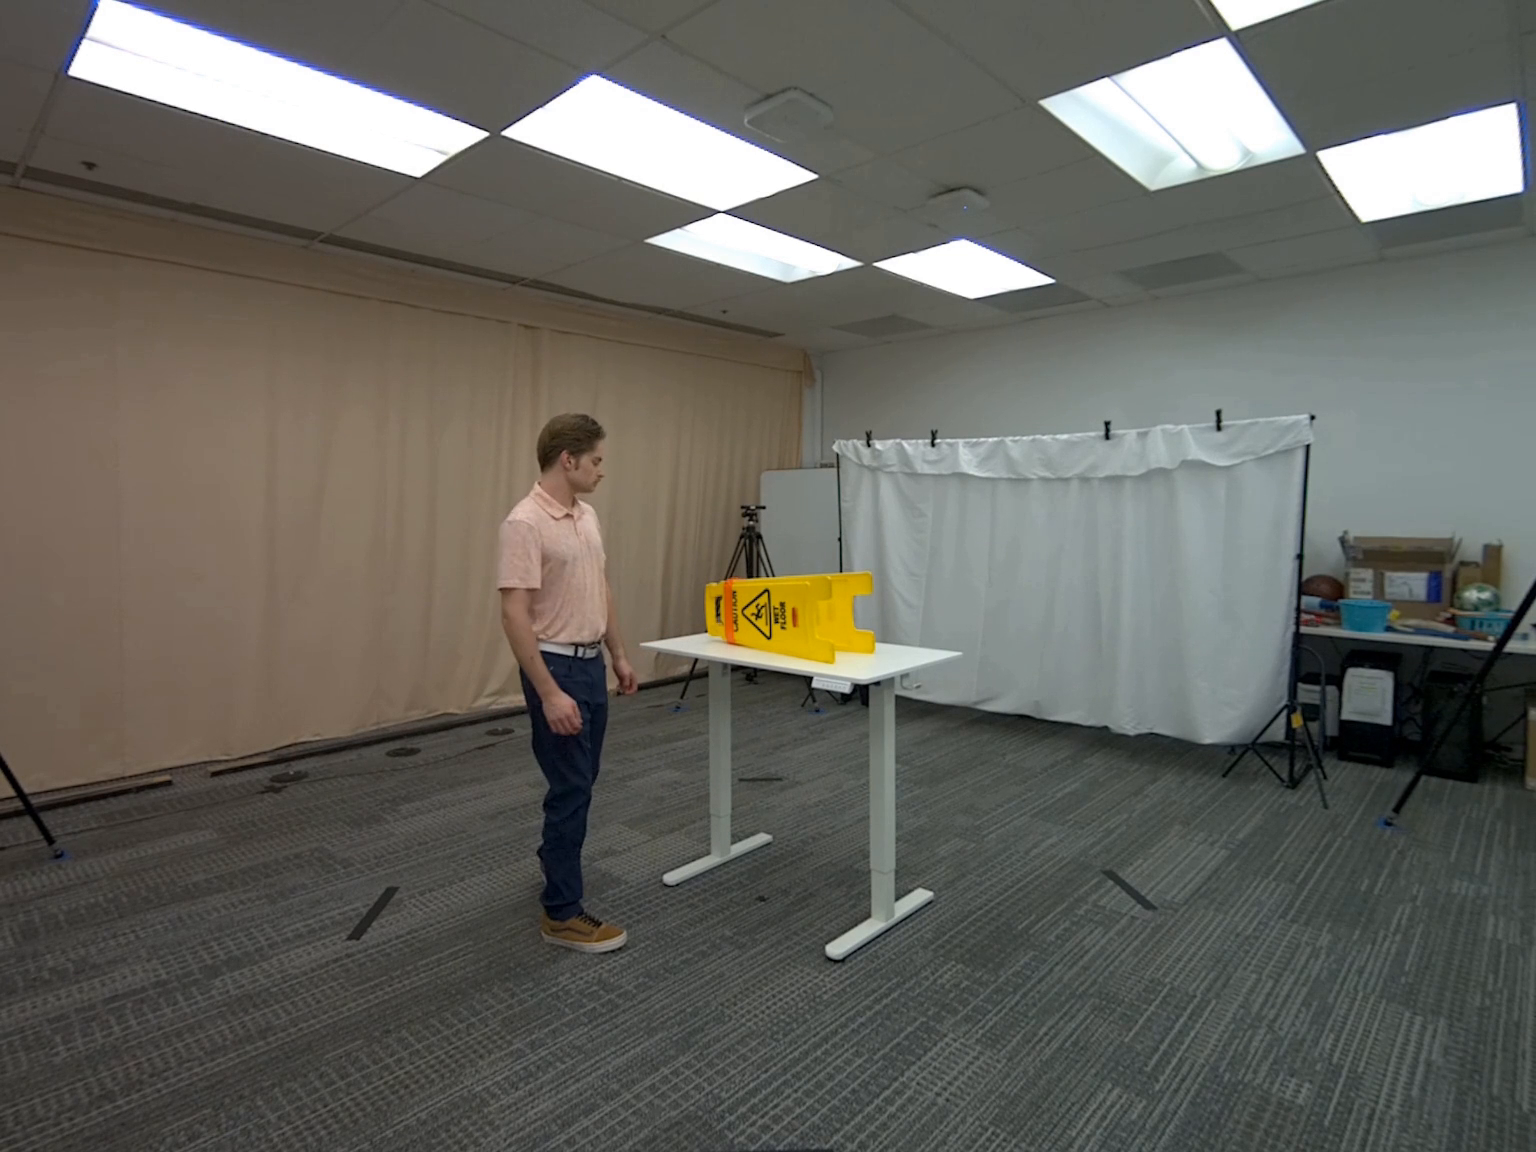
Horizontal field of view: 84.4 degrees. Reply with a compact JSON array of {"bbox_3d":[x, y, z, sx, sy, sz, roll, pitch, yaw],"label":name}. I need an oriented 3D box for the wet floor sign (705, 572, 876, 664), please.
[{"bbox_3d":[0.029,0.134,2.987,0.667,0.282,0.281,0,4,41],"label":"wet floor sign"}]
